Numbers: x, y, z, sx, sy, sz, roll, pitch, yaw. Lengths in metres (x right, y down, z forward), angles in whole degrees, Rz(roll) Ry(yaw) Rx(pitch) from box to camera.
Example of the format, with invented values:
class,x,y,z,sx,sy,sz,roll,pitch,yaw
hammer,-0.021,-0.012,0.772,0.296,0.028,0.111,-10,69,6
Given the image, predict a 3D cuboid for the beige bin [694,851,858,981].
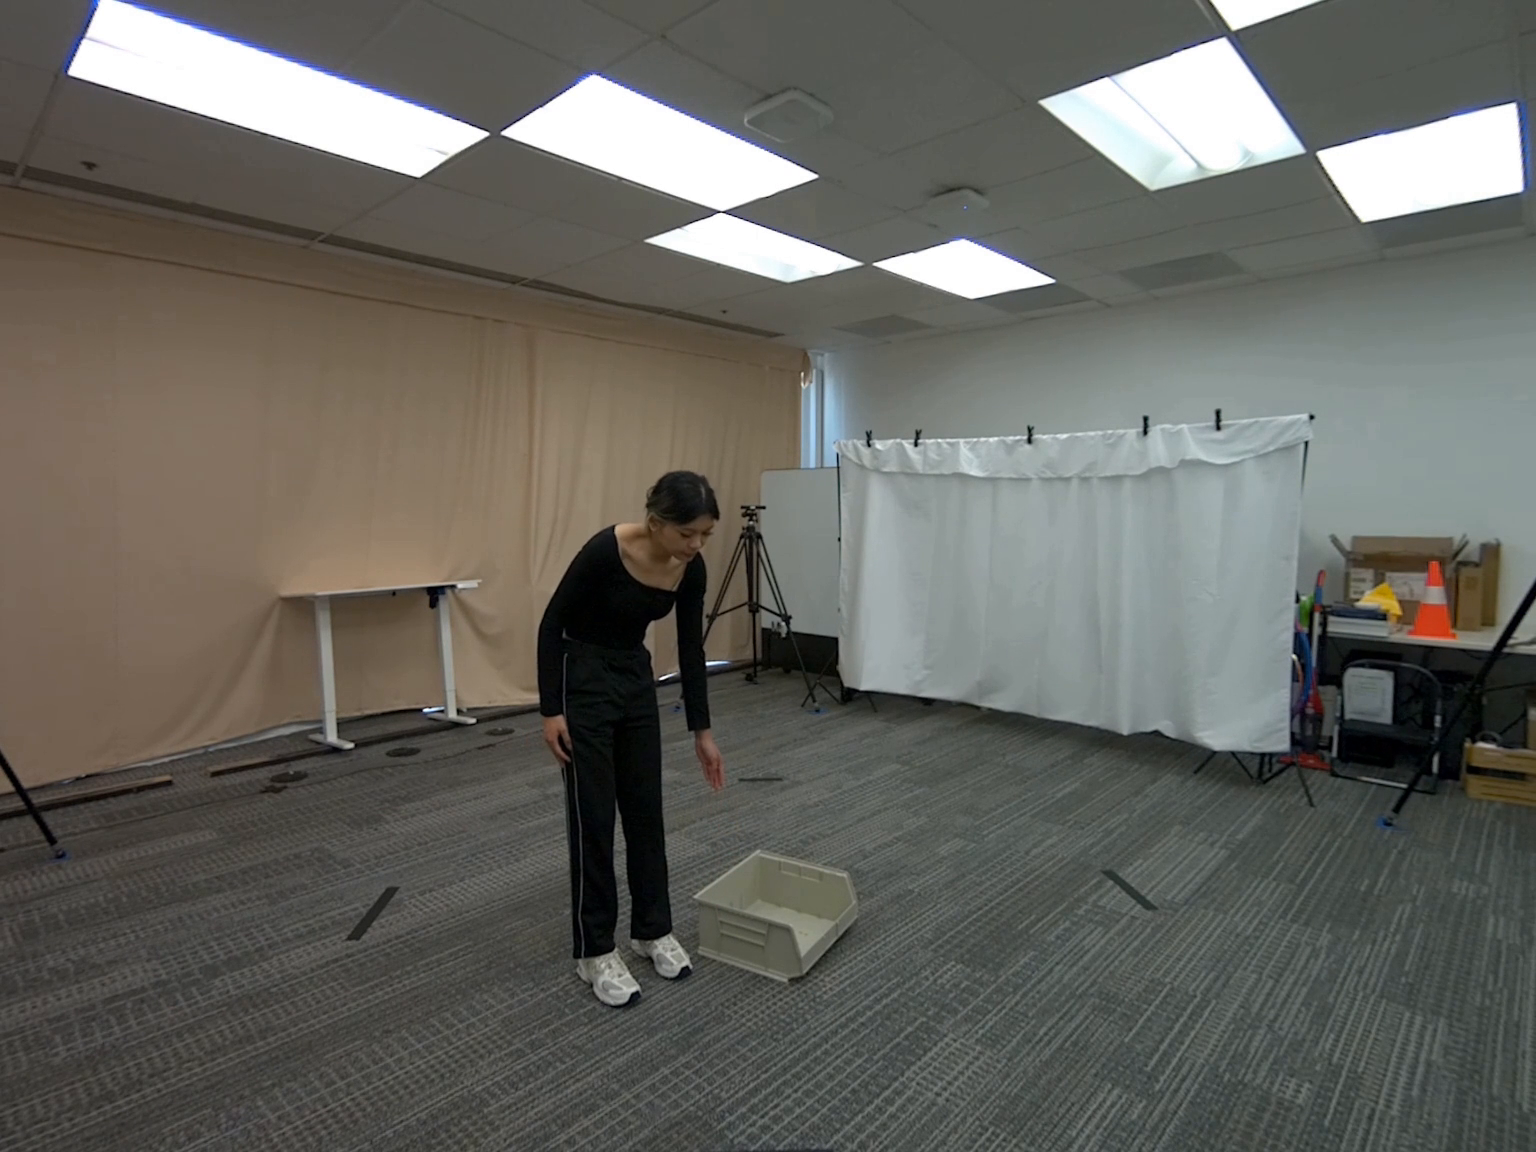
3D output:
class,x,y,z,sx,sy,sz,roll,pitch,yaw
beige bin,0.035,1.083,2.695,0.388,0.188,0.411,2,6,30
